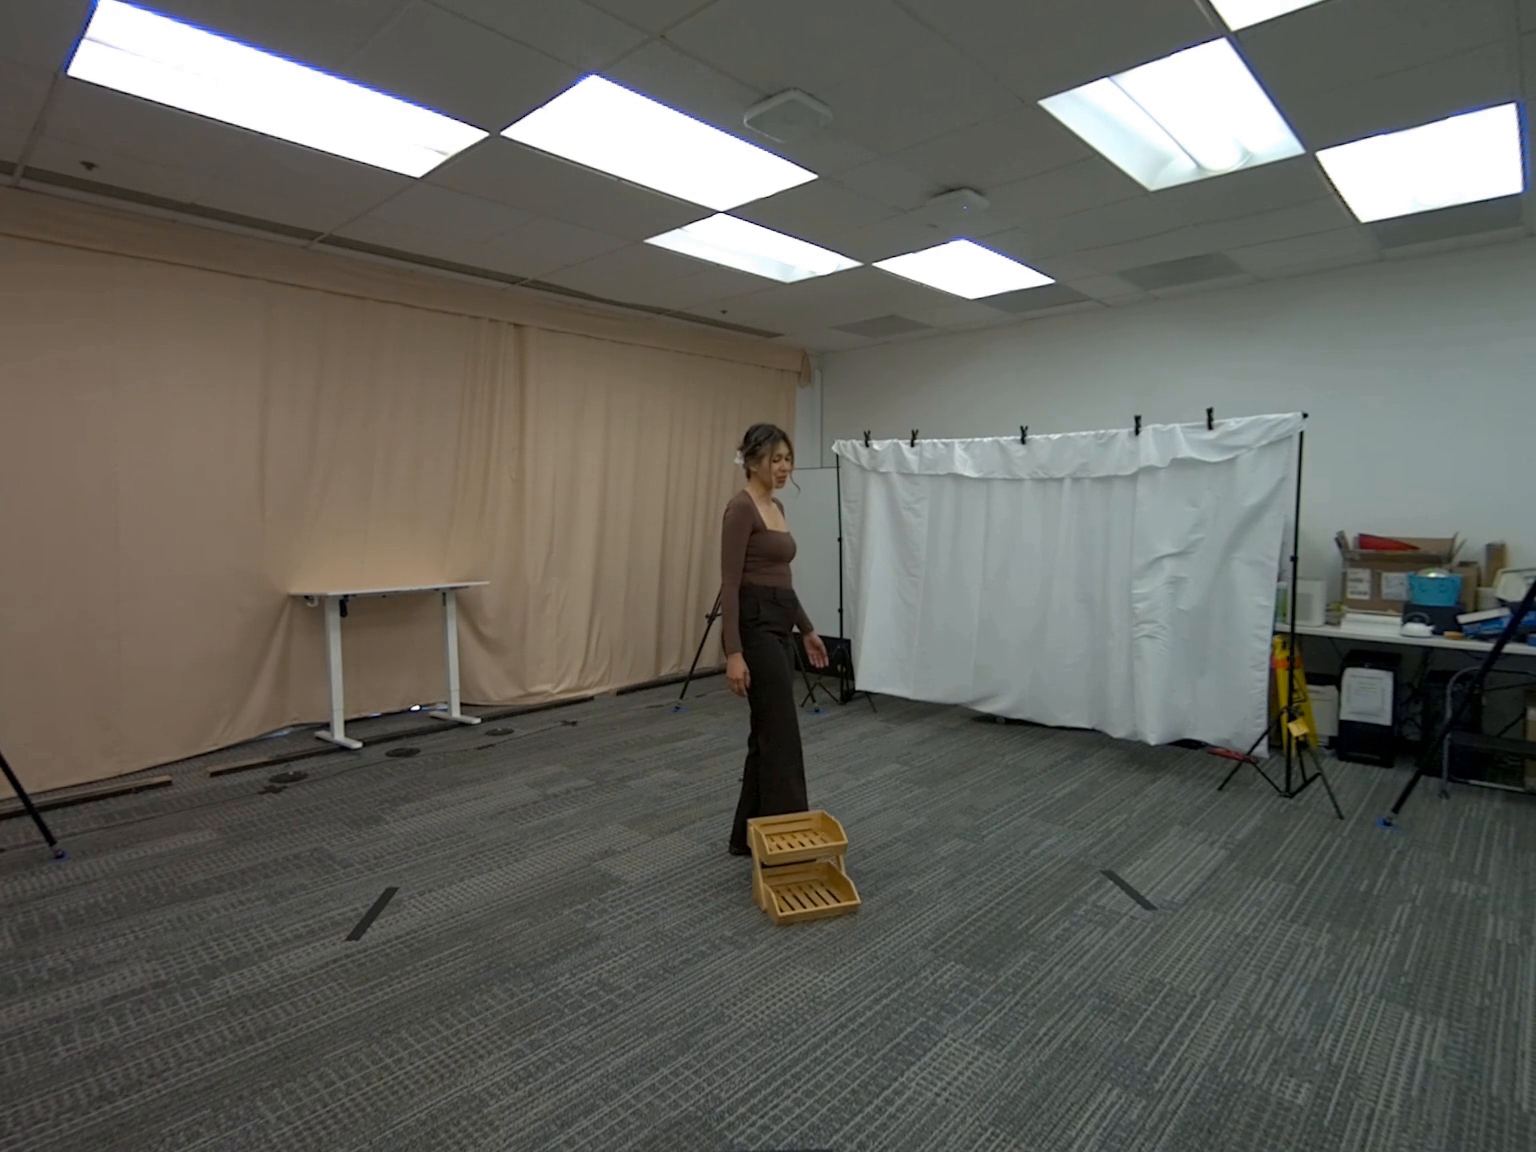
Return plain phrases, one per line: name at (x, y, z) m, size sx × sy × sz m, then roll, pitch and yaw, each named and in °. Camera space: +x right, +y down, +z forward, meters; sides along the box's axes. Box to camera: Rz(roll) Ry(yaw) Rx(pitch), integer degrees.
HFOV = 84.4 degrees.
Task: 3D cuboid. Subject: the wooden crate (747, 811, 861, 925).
wooden crate at (0.126, 1.011, 2.944) m, size 0.318 × 0.273 × 0.308 m, roll -1°, pitch 4°, yaw -19°
